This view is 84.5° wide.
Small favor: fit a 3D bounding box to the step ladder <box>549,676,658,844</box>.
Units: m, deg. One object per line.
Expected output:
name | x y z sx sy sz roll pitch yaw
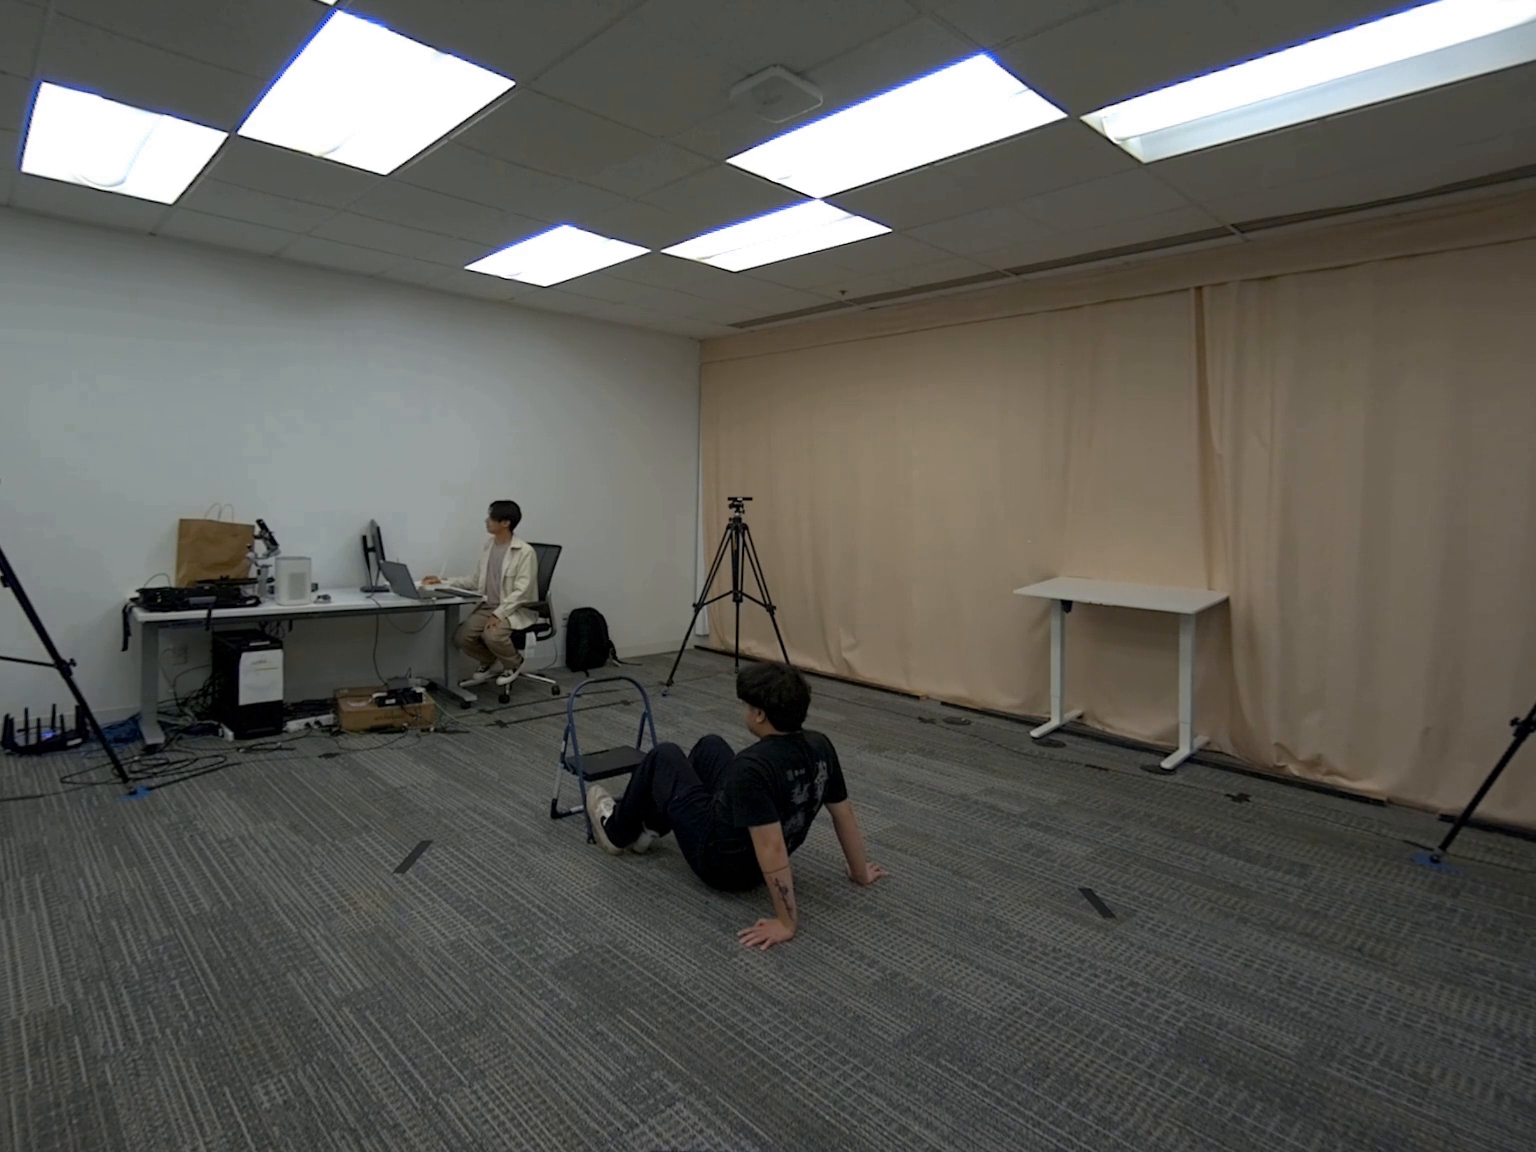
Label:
step ladder | -0.671 0.748 3.613 0.420 0.605 0.358 -1 4 -43
